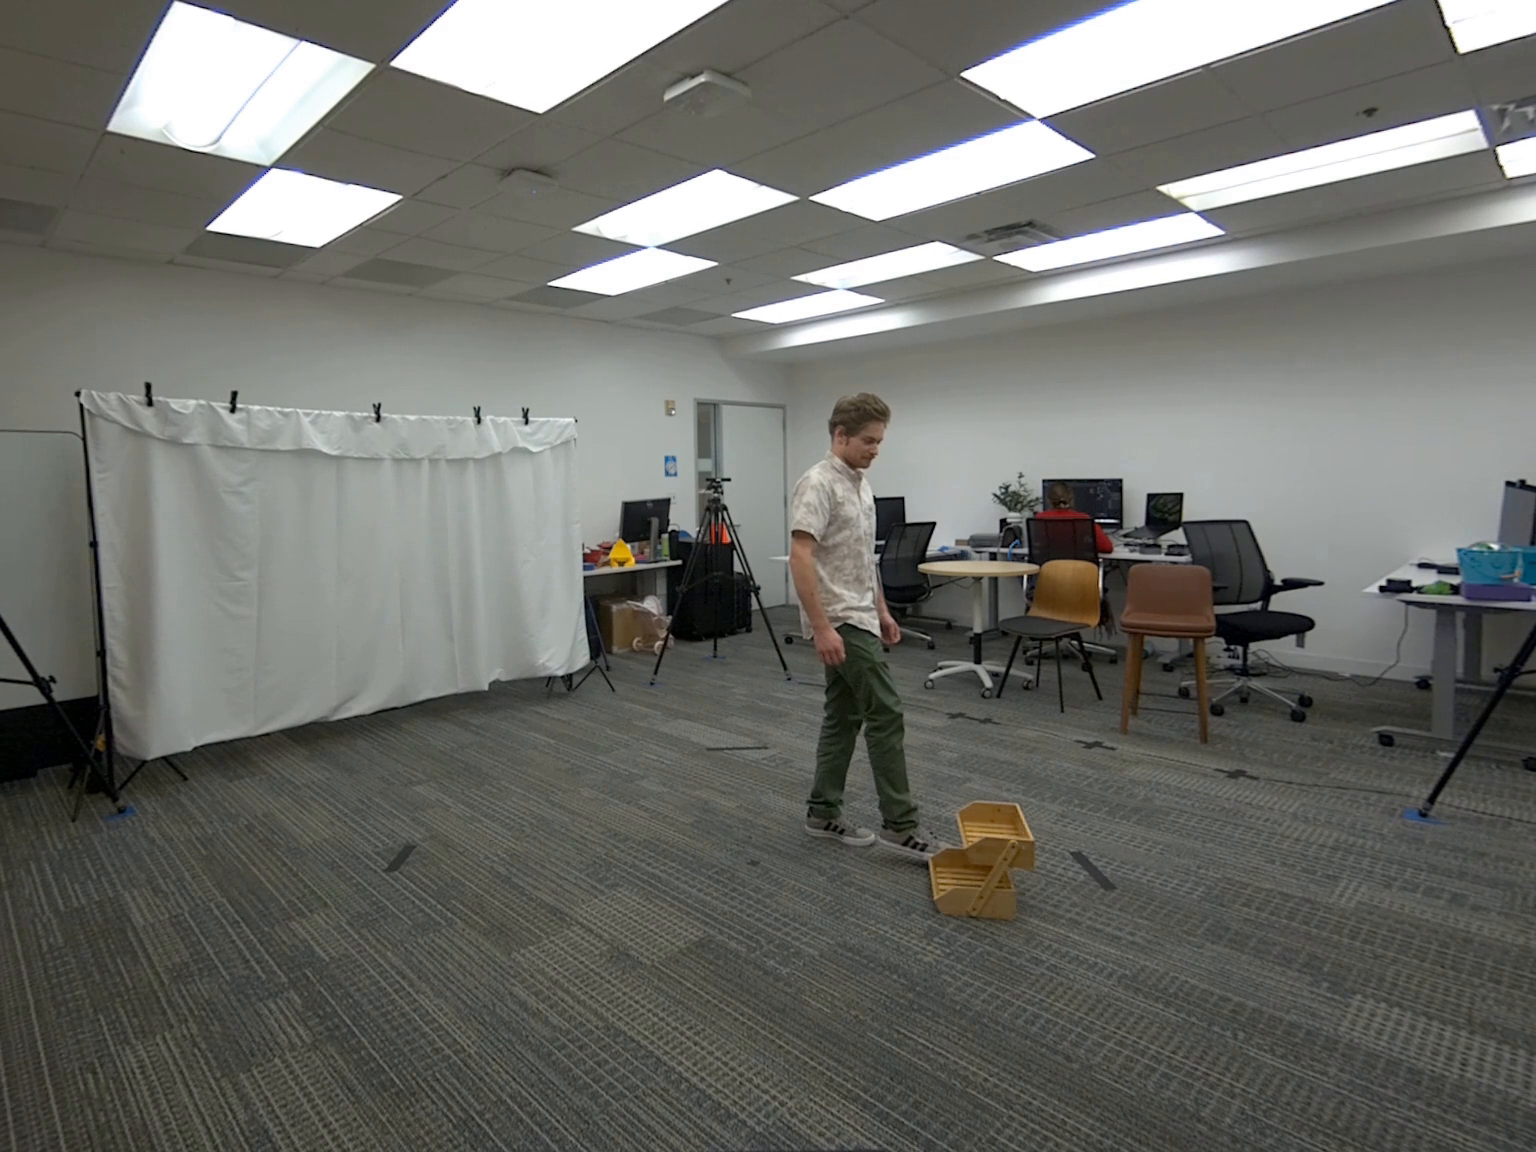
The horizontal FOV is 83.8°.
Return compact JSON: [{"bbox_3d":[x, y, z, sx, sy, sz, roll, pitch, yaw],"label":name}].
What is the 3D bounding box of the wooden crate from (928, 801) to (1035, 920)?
[{"bbox_3d":[0.698,0.926,2.830,0.305,0.272,0.323,0,5,8],"label":"wooden crate"}]
